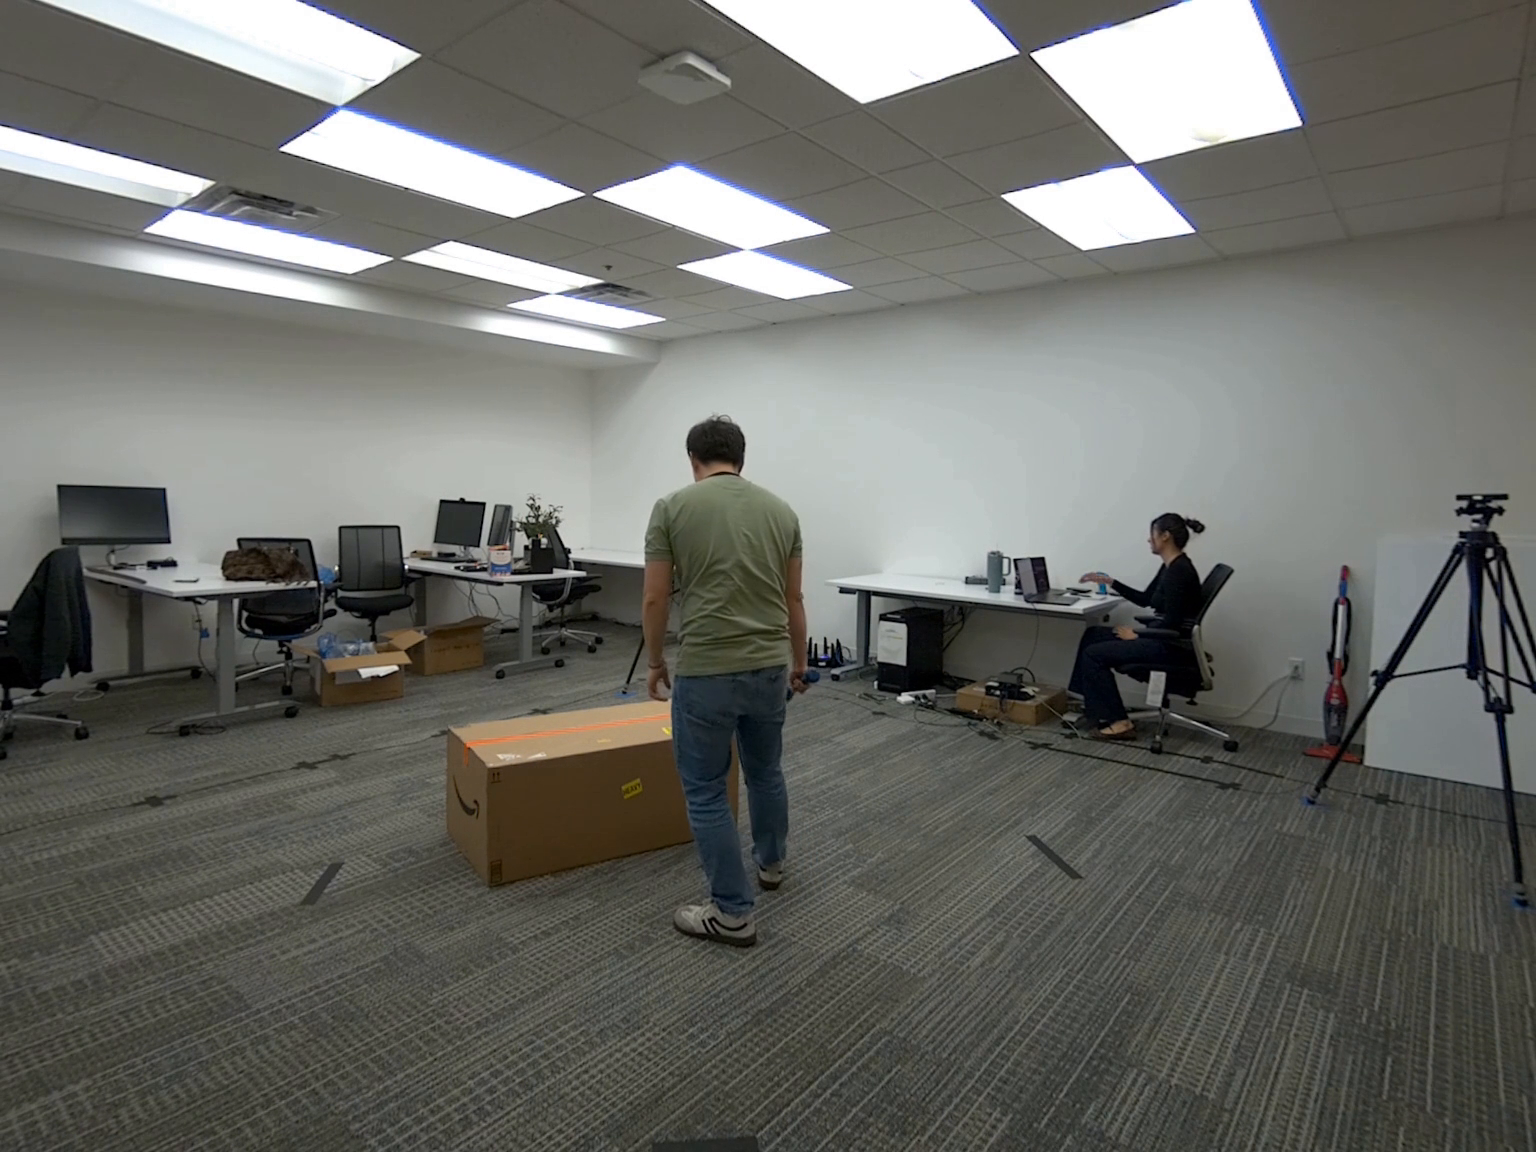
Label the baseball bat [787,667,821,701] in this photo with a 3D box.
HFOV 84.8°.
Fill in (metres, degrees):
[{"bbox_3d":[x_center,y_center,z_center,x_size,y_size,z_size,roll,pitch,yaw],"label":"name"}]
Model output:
[{"bbox_3d":[0.045,0.404,2.994,0.087,0.090,0.542,0,-17,-17],"label":"baseball bat"}]
